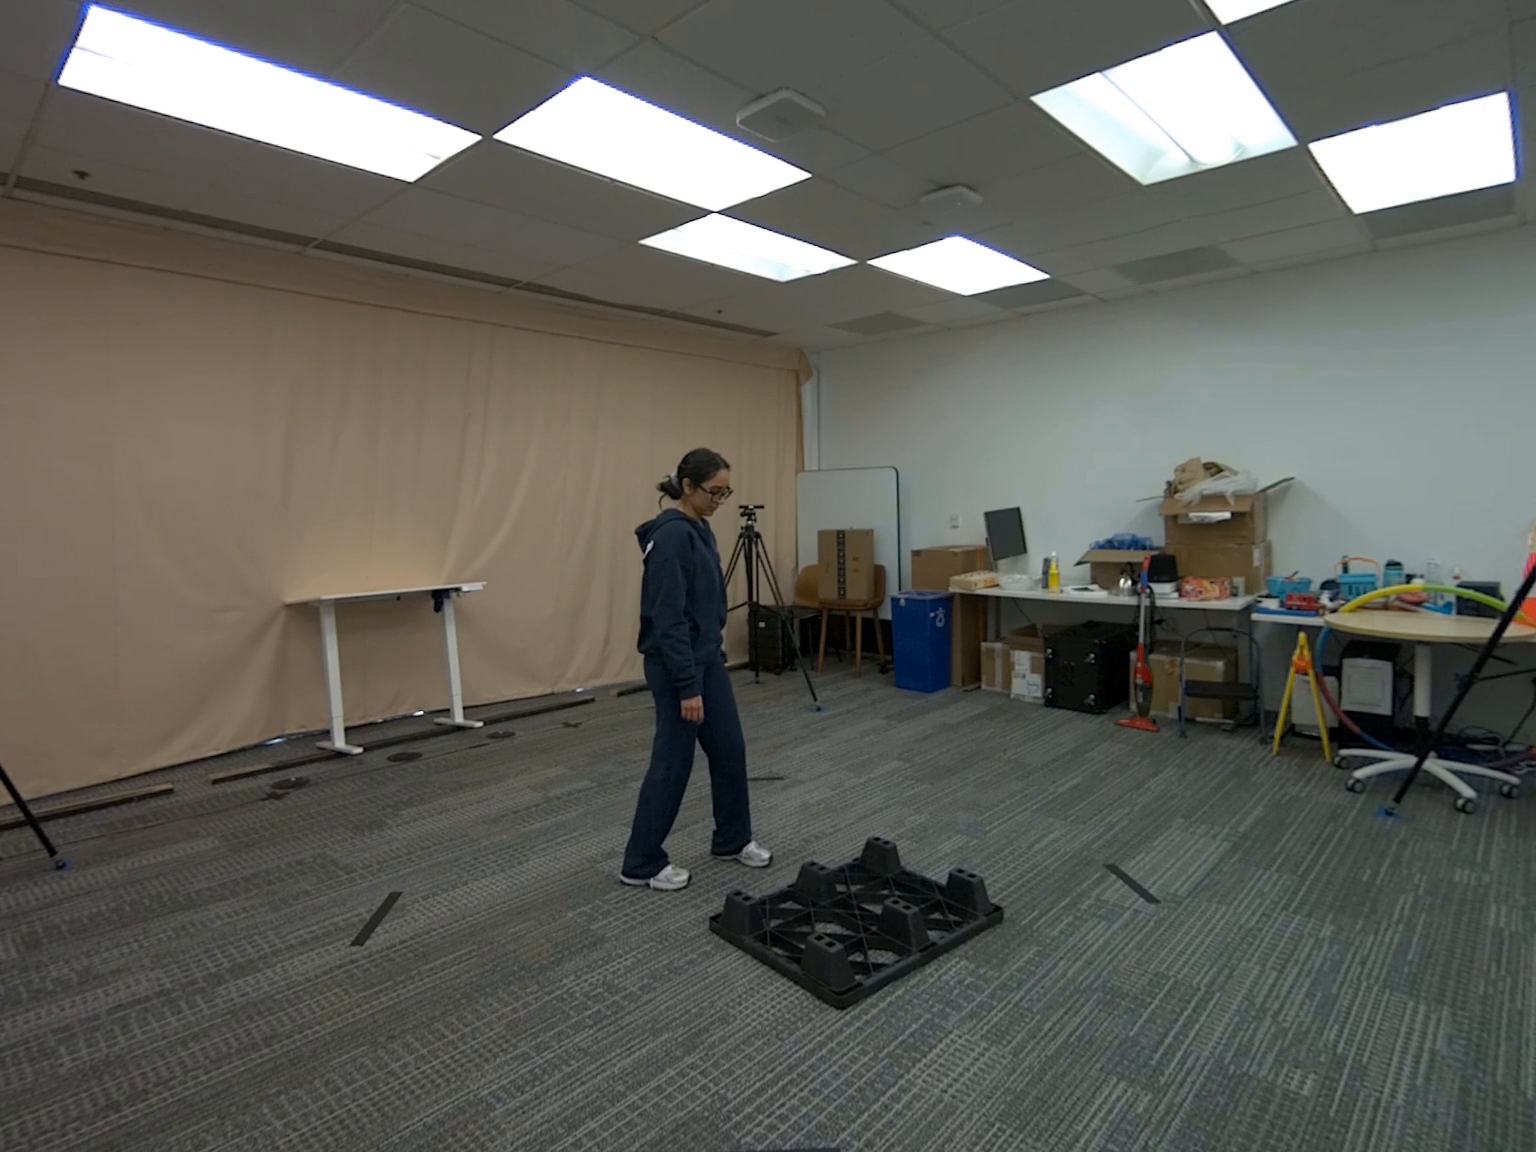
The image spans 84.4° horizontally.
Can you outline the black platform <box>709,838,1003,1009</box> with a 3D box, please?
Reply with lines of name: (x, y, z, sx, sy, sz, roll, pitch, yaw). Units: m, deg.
black platform: (0.293, 1.080, 2.785, 0.781, 0.143, 0.625, -5, 7, -40)
